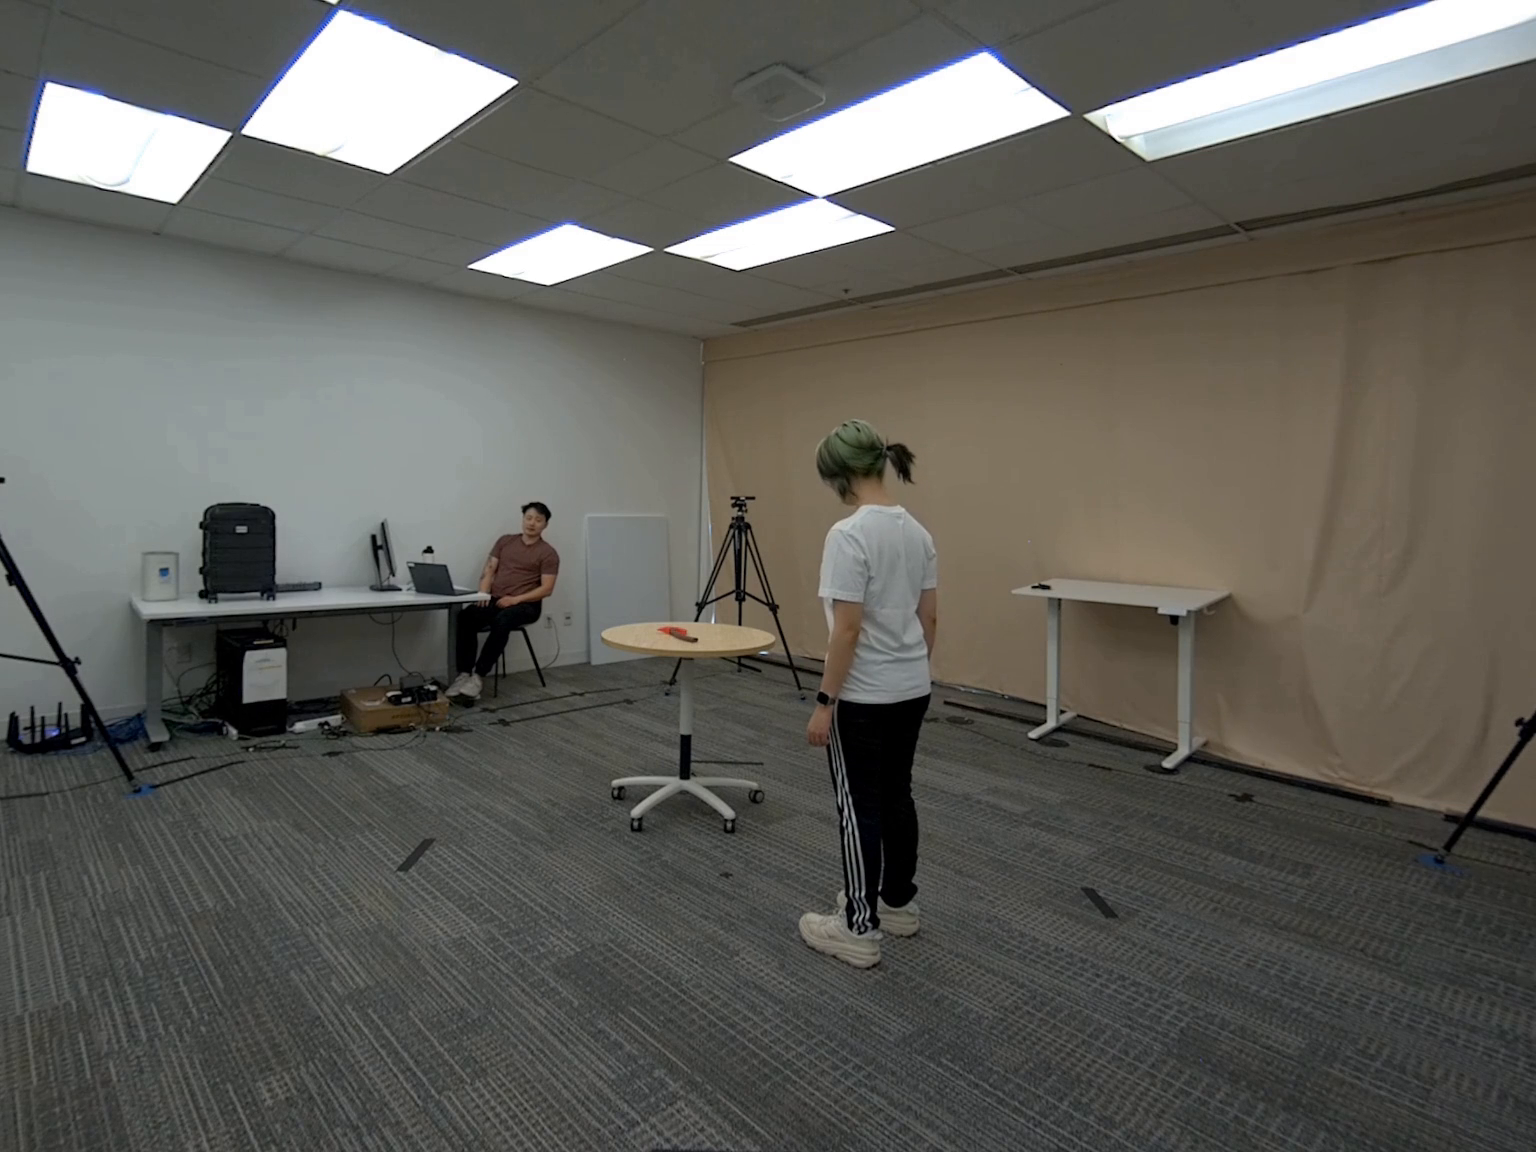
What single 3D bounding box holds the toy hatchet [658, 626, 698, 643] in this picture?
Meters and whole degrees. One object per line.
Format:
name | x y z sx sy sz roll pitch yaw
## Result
toy hatchet | -0.364 0.253 3.649 0.128 0.029 0.277 4 5 -38
